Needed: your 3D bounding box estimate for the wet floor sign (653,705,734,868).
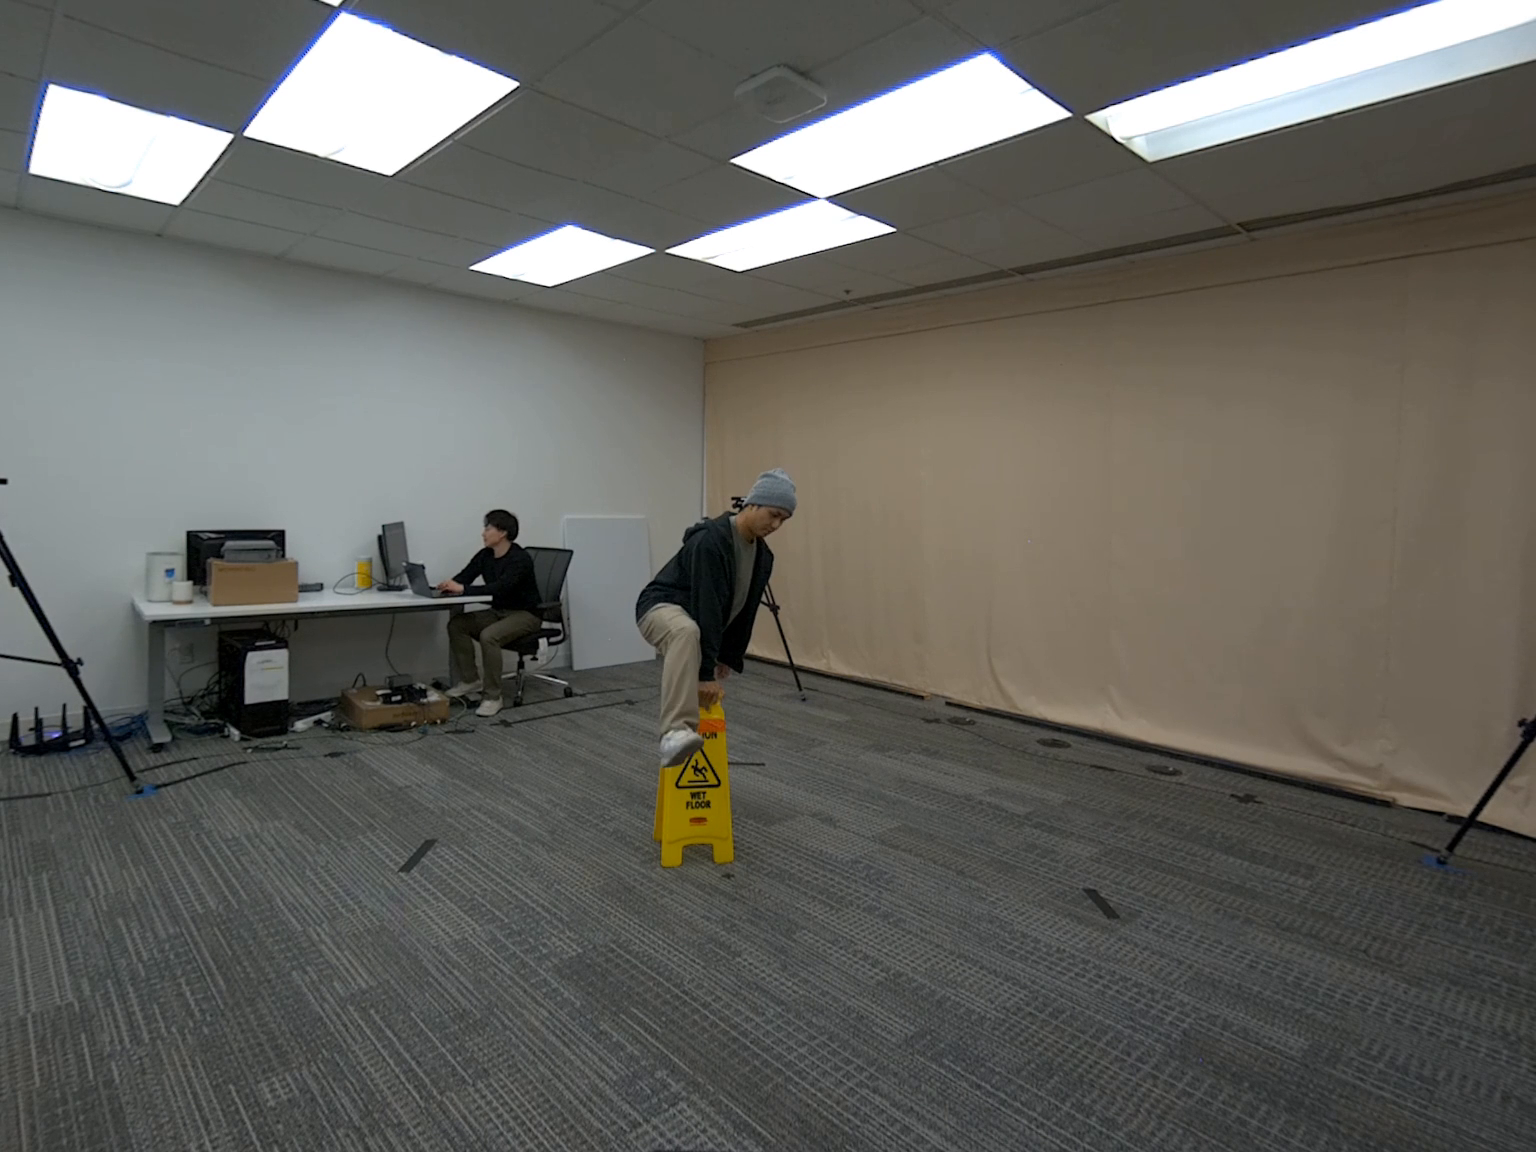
[{"bbox_3d":[-0.300,0.759,3.307,0.279,0.645,0.293,2,3,-12],"label":"wet floor sign"}]
